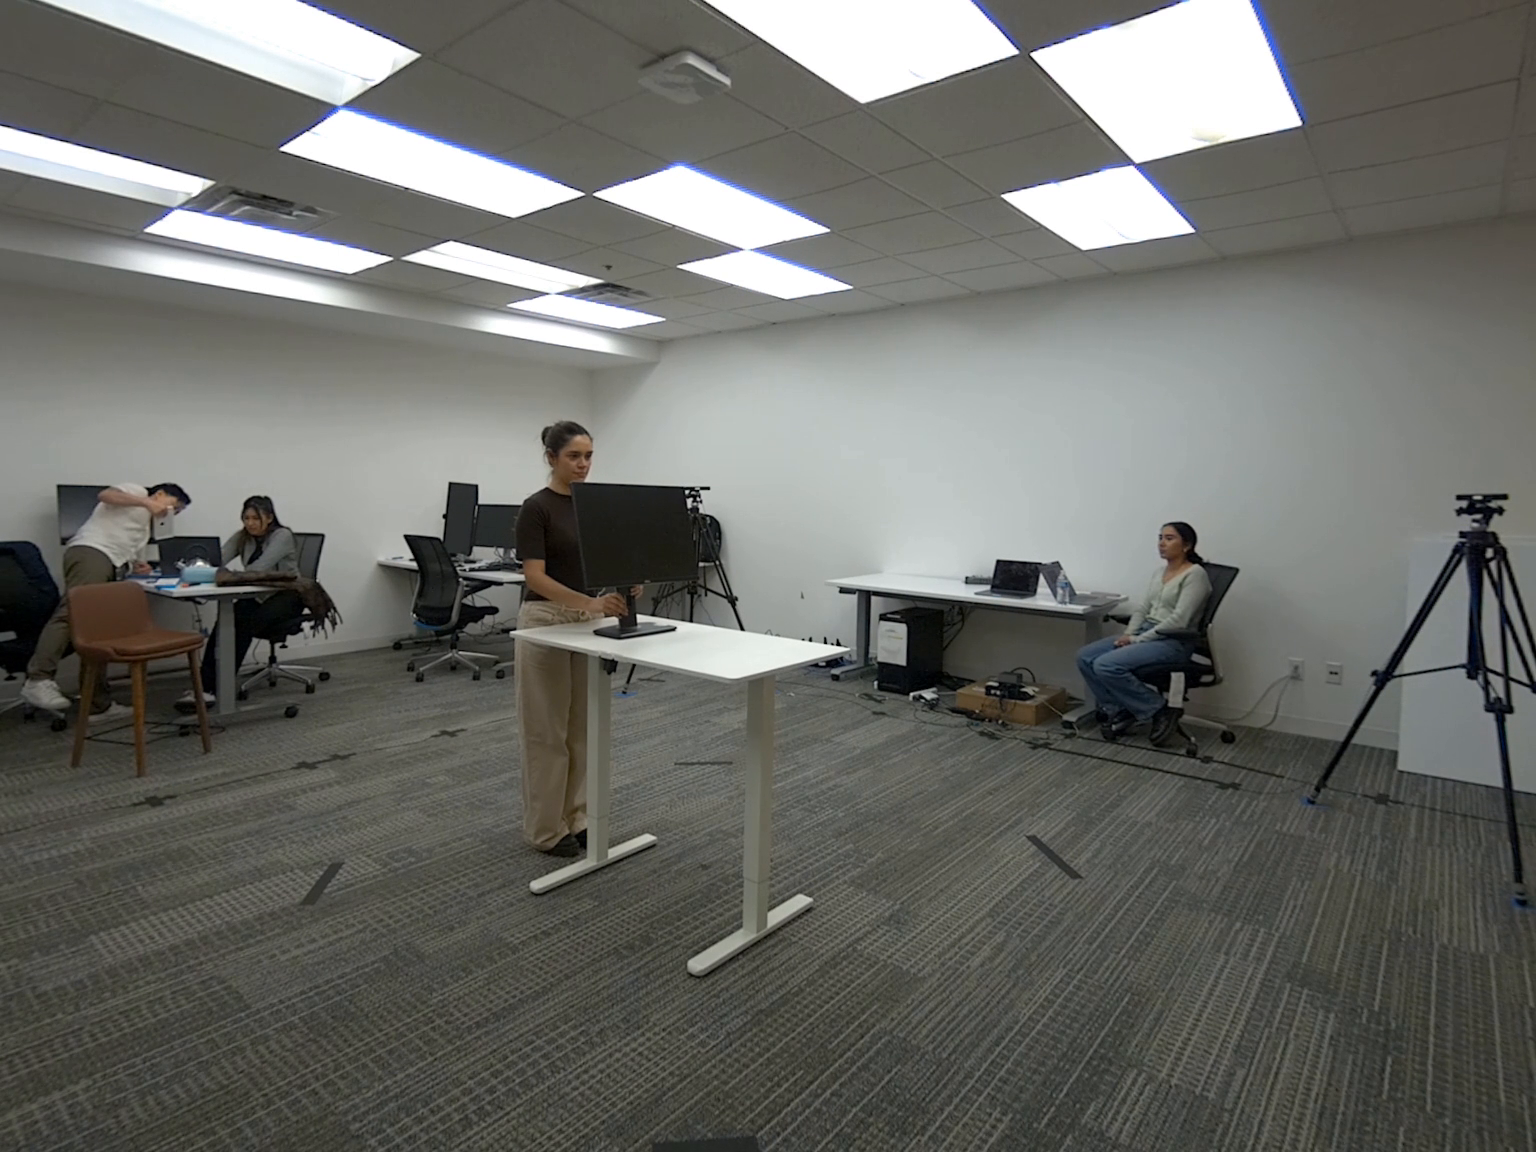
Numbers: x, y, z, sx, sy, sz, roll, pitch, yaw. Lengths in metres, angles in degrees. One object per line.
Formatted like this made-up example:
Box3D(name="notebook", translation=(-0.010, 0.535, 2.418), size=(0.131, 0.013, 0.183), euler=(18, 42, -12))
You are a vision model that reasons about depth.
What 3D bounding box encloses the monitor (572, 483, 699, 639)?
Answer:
Box3D(name="monitor", translation=(-0.474, -0.063, 2.942), size=(0.181, 0.514, 0.514), euler=(8, 6, 37))
